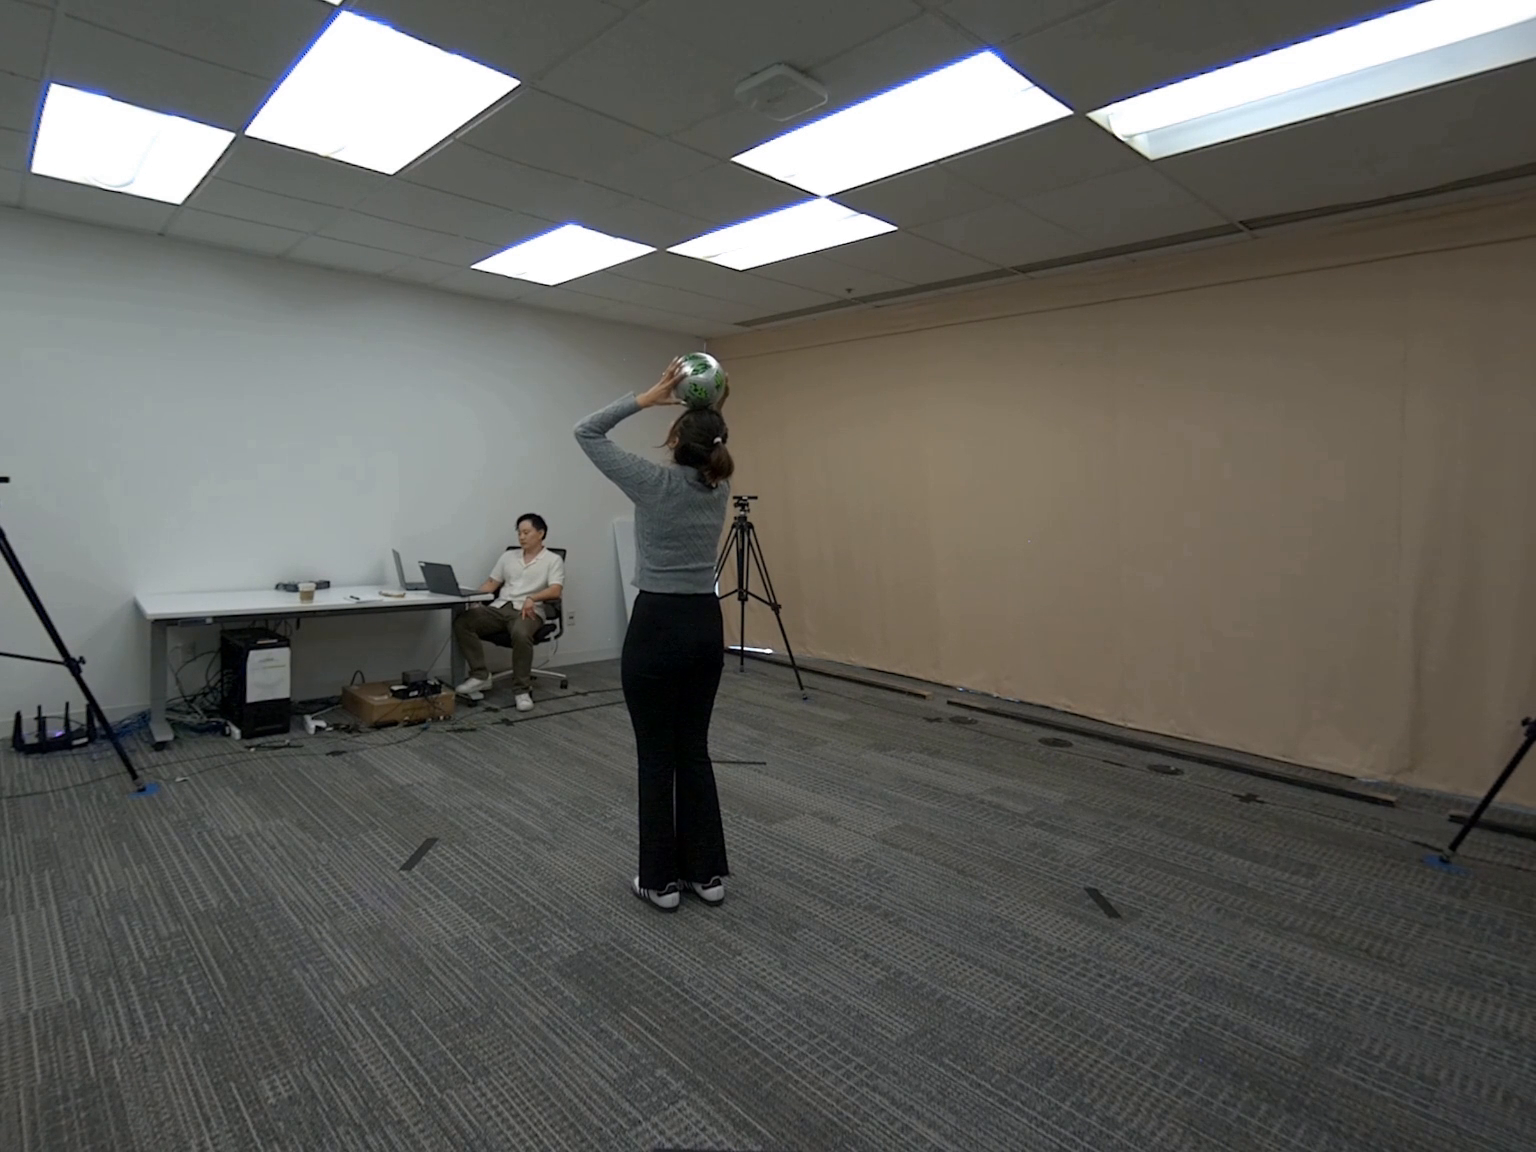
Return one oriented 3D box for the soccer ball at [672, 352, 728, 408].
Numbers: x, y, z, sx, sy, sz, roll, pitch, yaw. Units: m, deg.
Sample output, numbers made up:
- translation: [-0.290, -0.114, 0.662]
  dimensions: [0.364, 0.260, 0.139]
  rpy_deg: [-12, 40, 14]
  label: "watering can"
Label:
- translation: [-0.249, -0.648, 2.812]
  dimensions: [0.187, 0.187, 0.188]
  rpy_deg: [1, 4, -1]
  label: "soccer ball"
